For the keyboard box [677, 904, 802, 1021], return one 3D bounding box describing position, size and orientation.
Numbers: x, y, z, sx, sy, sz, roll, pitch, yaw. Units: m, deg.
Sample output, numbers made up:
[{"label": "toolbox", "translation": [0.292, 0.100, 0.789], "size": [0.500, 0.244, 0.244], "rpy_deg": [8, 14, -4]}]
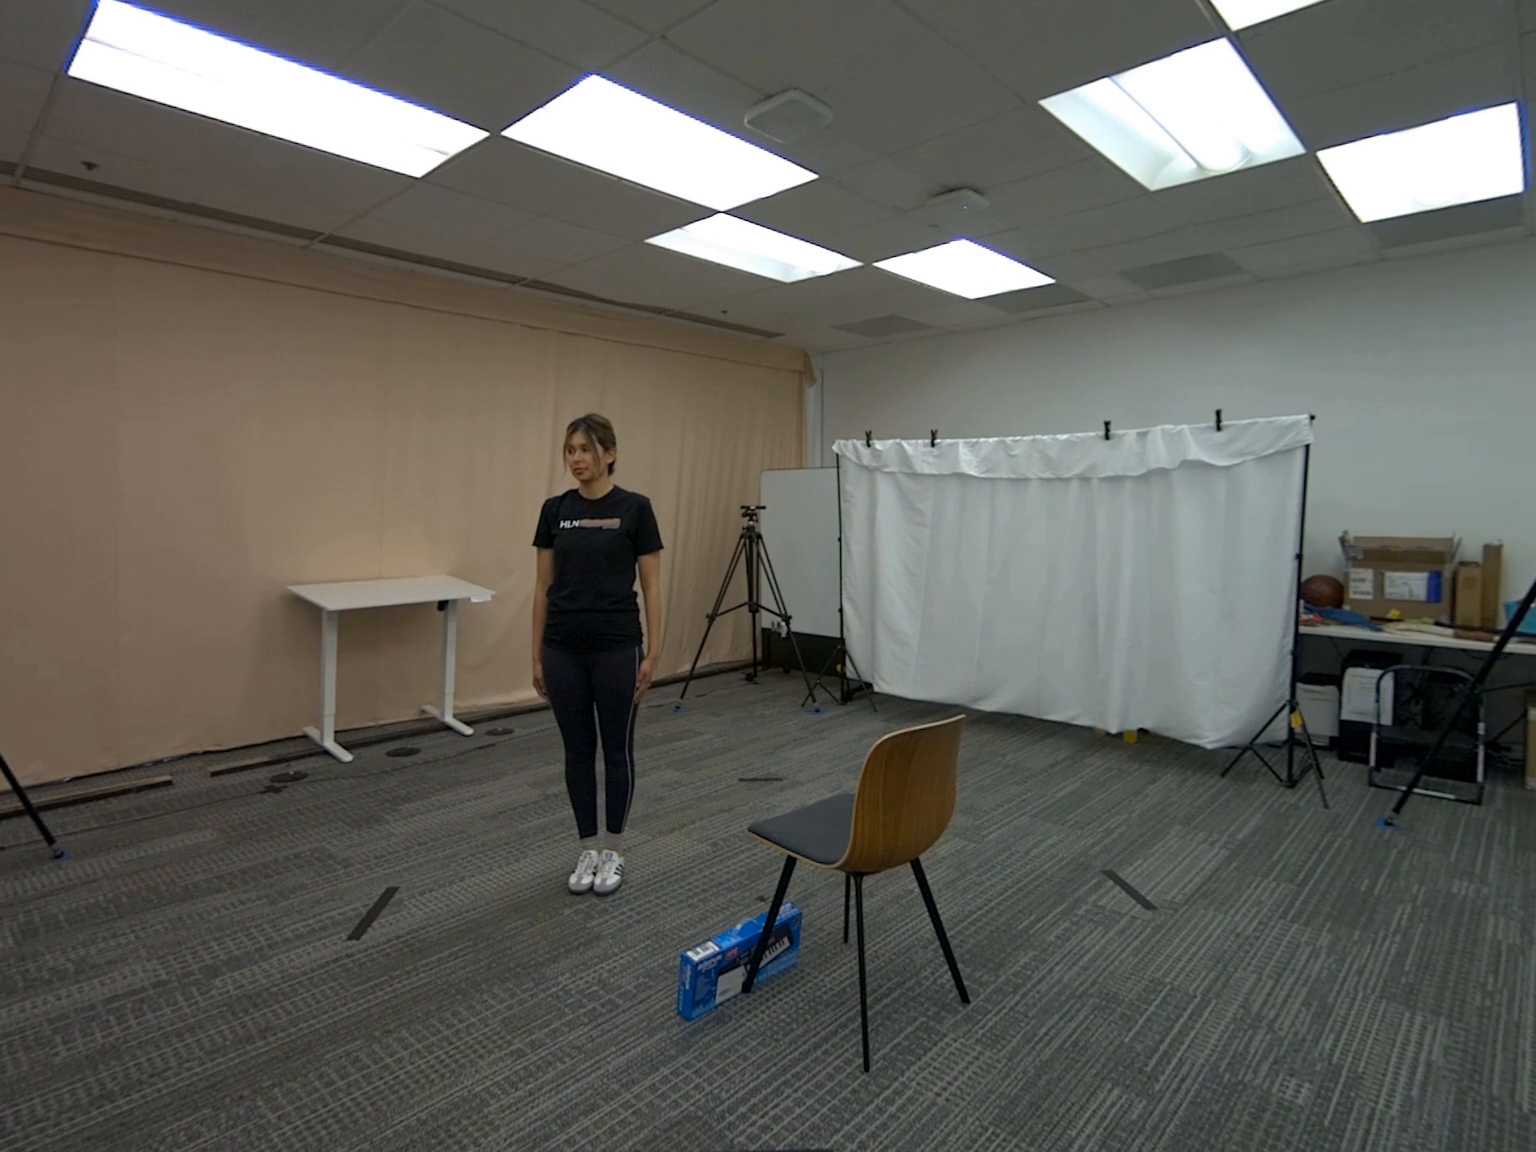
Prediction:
[{"label": "keyboard box", "translation": [-0.074, 1.105, 2.423], "size": [0.423, 0.175, 0.061], "rpy_deg": [-4, 11, -44]}]
